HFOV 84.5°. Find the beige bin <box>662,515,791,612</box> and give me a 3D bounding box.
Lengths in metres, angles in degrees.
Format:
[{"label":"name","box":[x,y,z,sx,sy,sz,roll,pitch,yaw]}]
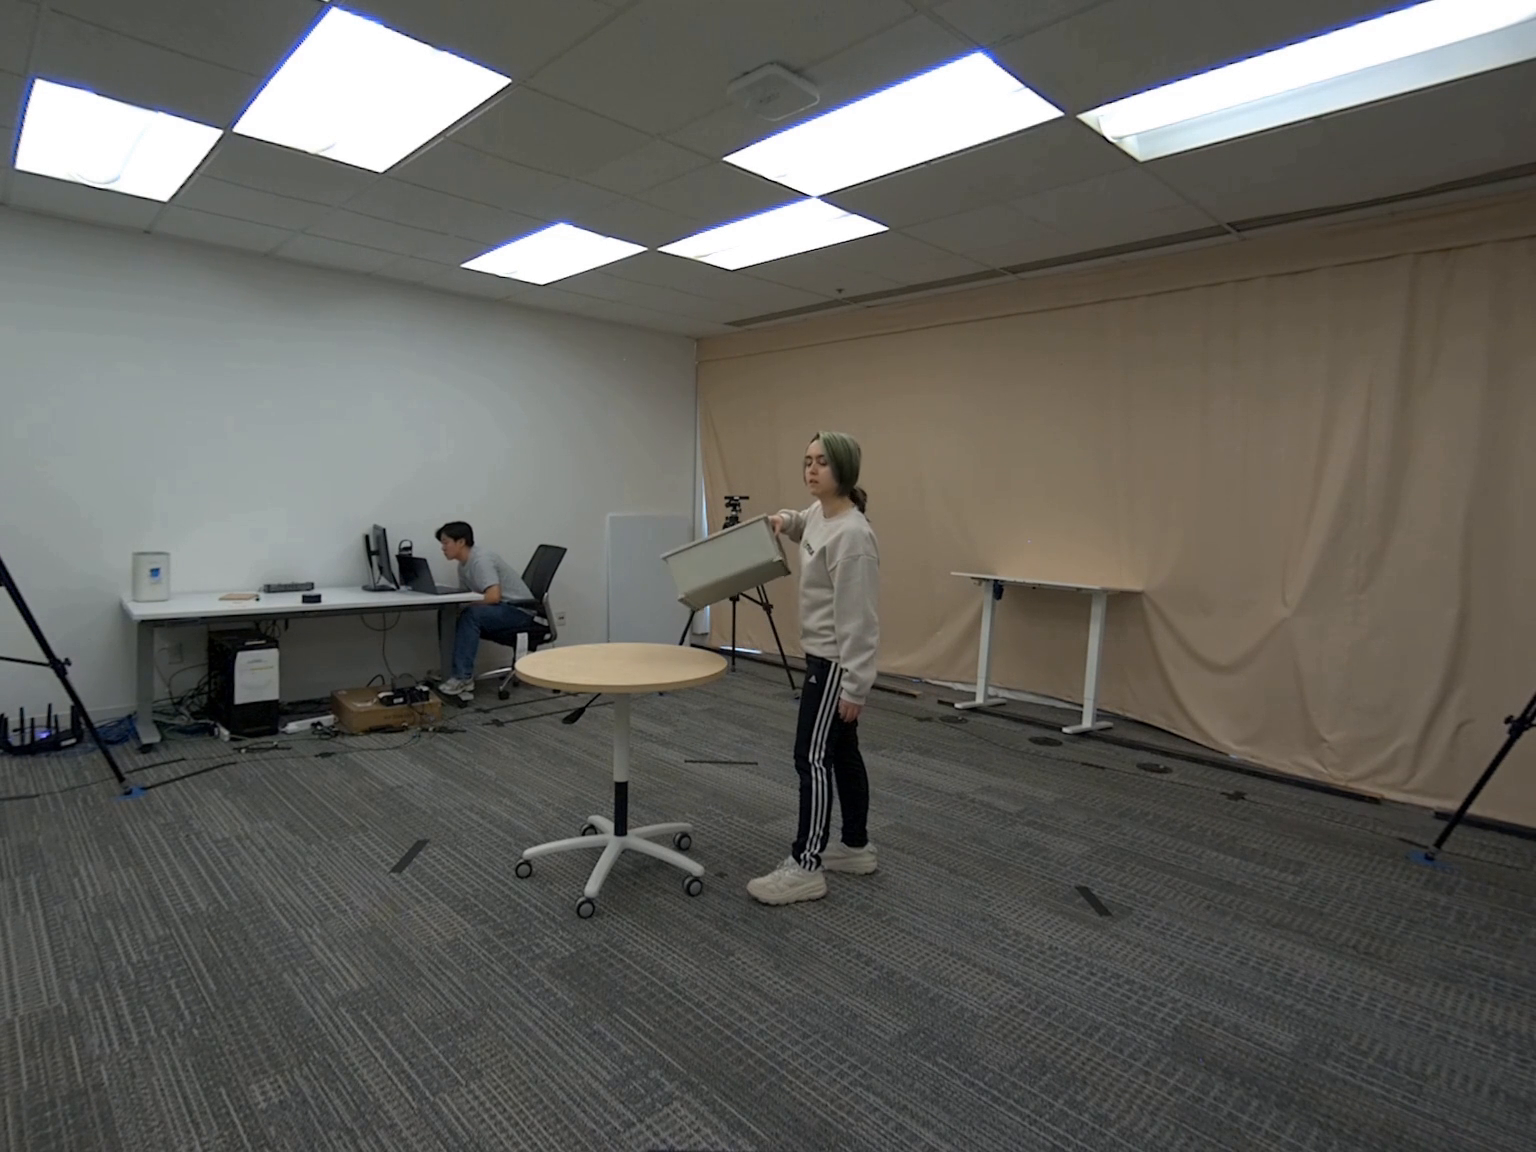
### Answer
[{"label":"beige bin","box":[-0.153,-0.027,3.233,0.423,0.191,0.371,-21,-13,5]}]
